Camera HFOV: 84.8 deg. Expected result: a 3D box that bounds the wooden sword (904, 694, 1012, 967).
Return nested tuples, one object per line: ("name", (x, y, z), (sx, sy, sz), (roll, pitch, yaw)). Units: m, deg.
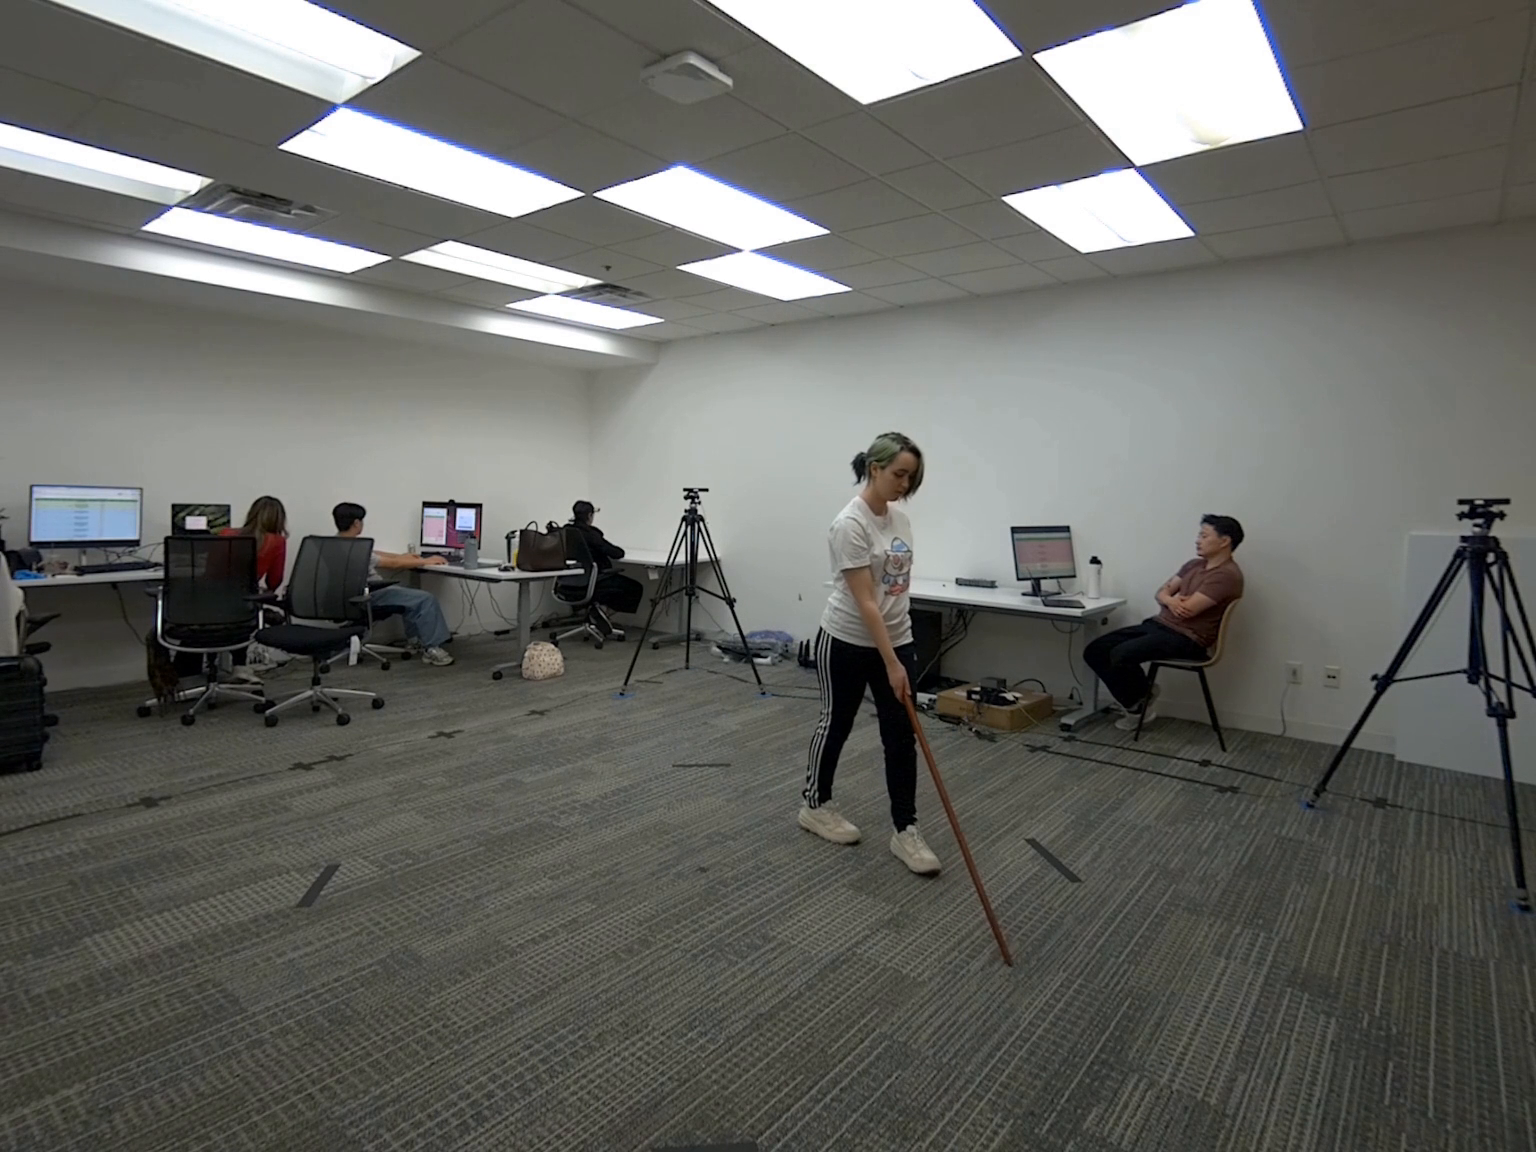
("wooden sword", (0.594, 0.734, 2.830), (0.050, 1.061, 0.024), (-5, -37, -23))
